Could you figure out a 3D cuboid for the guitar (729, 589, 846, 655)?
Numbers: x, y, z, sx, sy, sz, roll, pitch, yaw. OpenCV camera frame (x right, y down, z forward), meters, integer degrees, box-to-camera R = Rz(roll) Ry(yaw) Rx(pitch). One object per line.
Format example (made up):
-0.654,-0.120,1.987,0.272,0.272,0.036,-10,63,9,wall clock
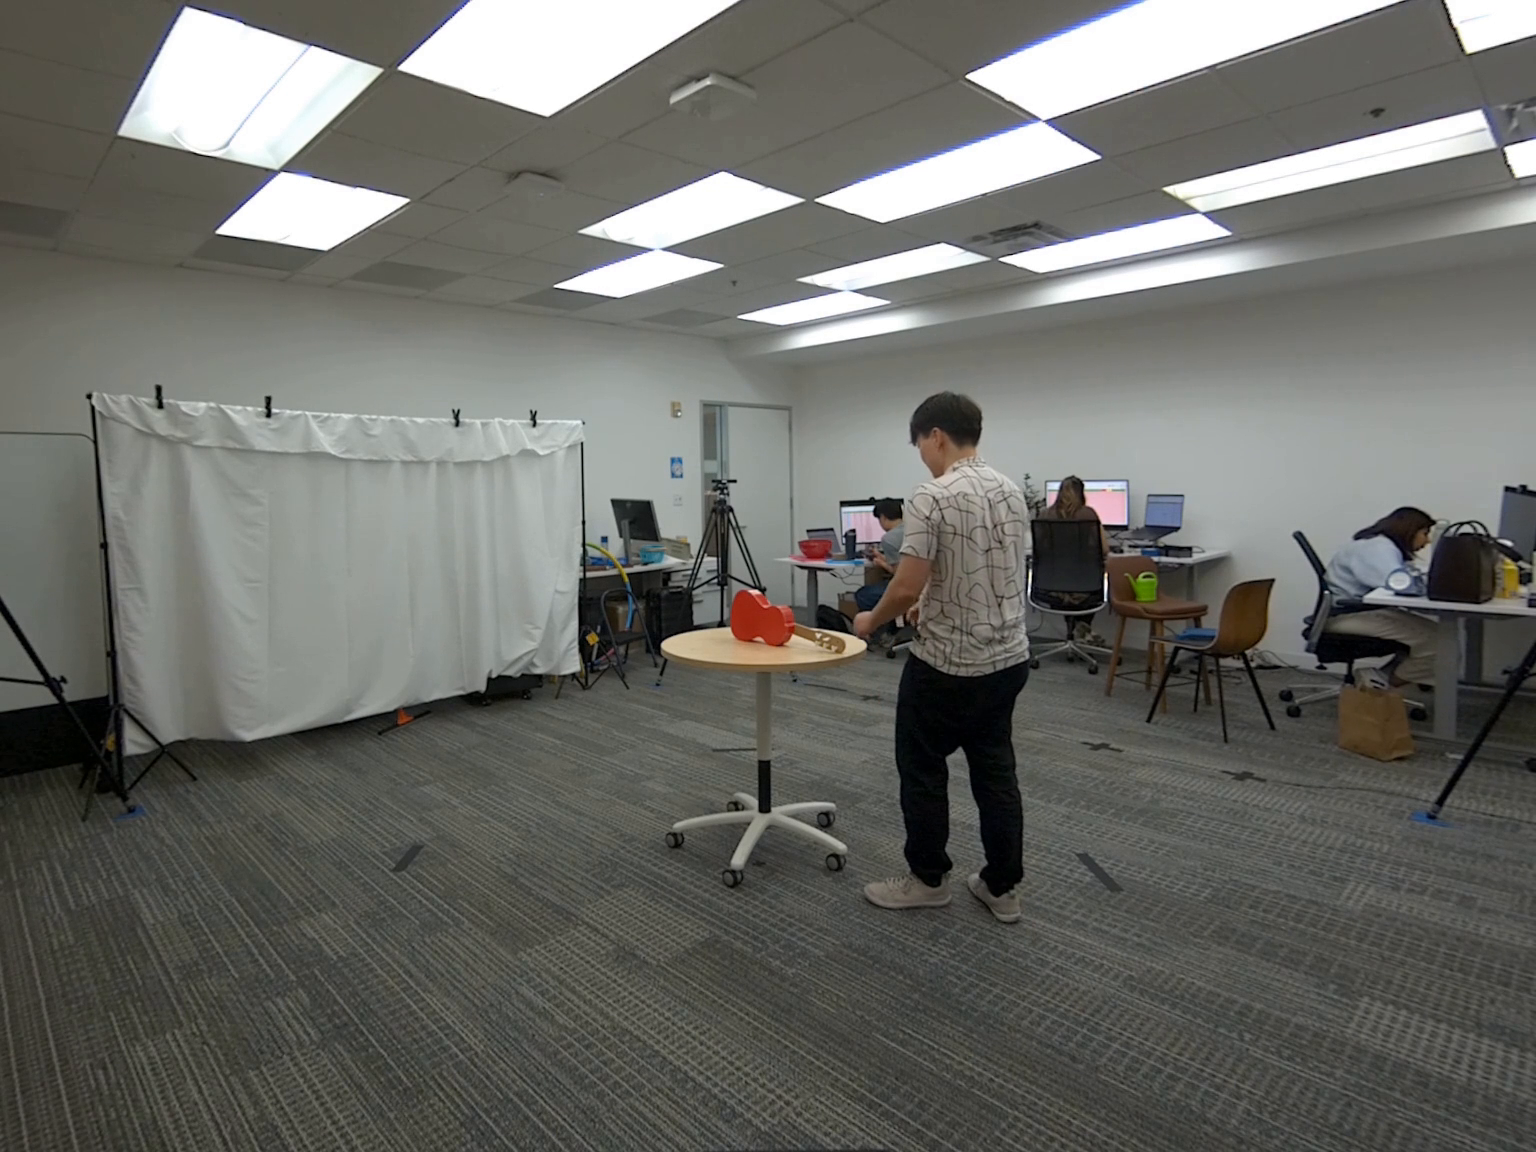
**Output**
0.070,0.165,3.135,0.513,0.192,0.069,6,5,42,guitar
